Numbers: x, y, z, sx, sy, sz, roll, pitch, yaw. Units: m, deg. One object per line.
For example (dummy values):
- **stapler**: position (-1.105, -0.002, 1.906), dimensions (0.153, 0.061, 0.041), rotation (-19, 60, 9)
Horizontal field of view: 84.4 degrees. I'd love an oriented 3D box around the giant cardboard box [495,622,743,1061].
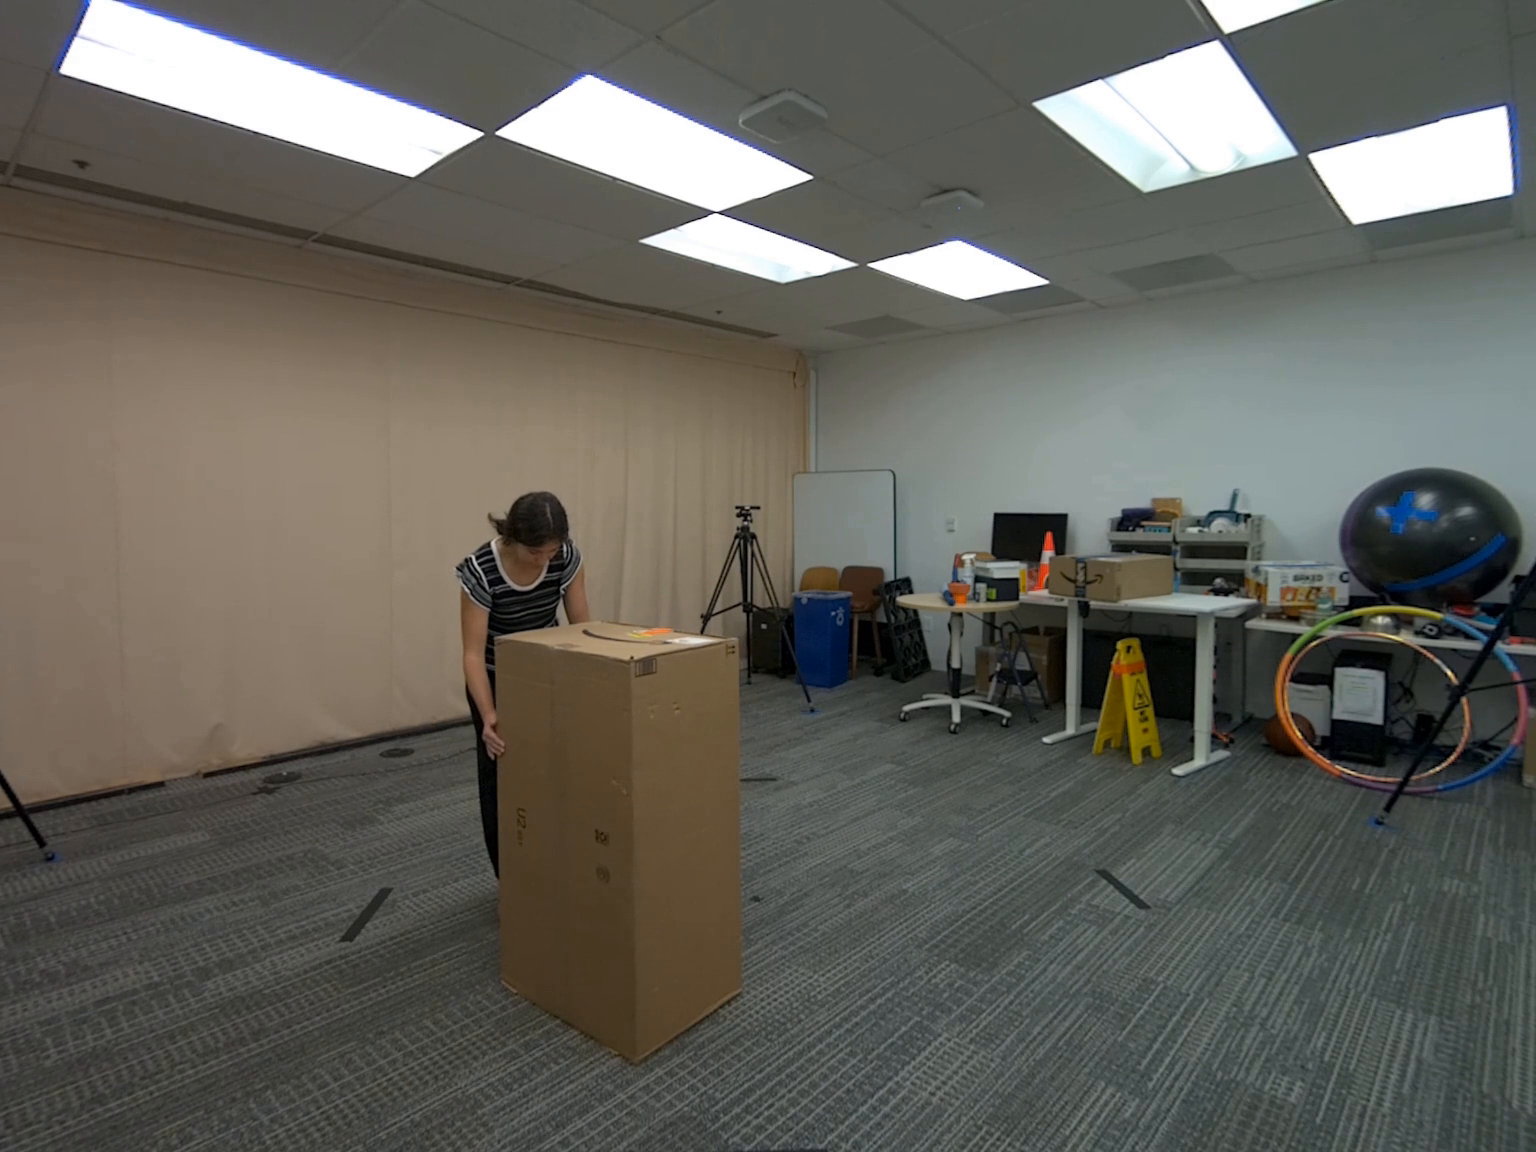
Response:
- **giant cardboard box**: position (-0.430, 0.689, 2.415), dimensions (0.596, 1.024, 0.413), rotation (2, 4, 39)
